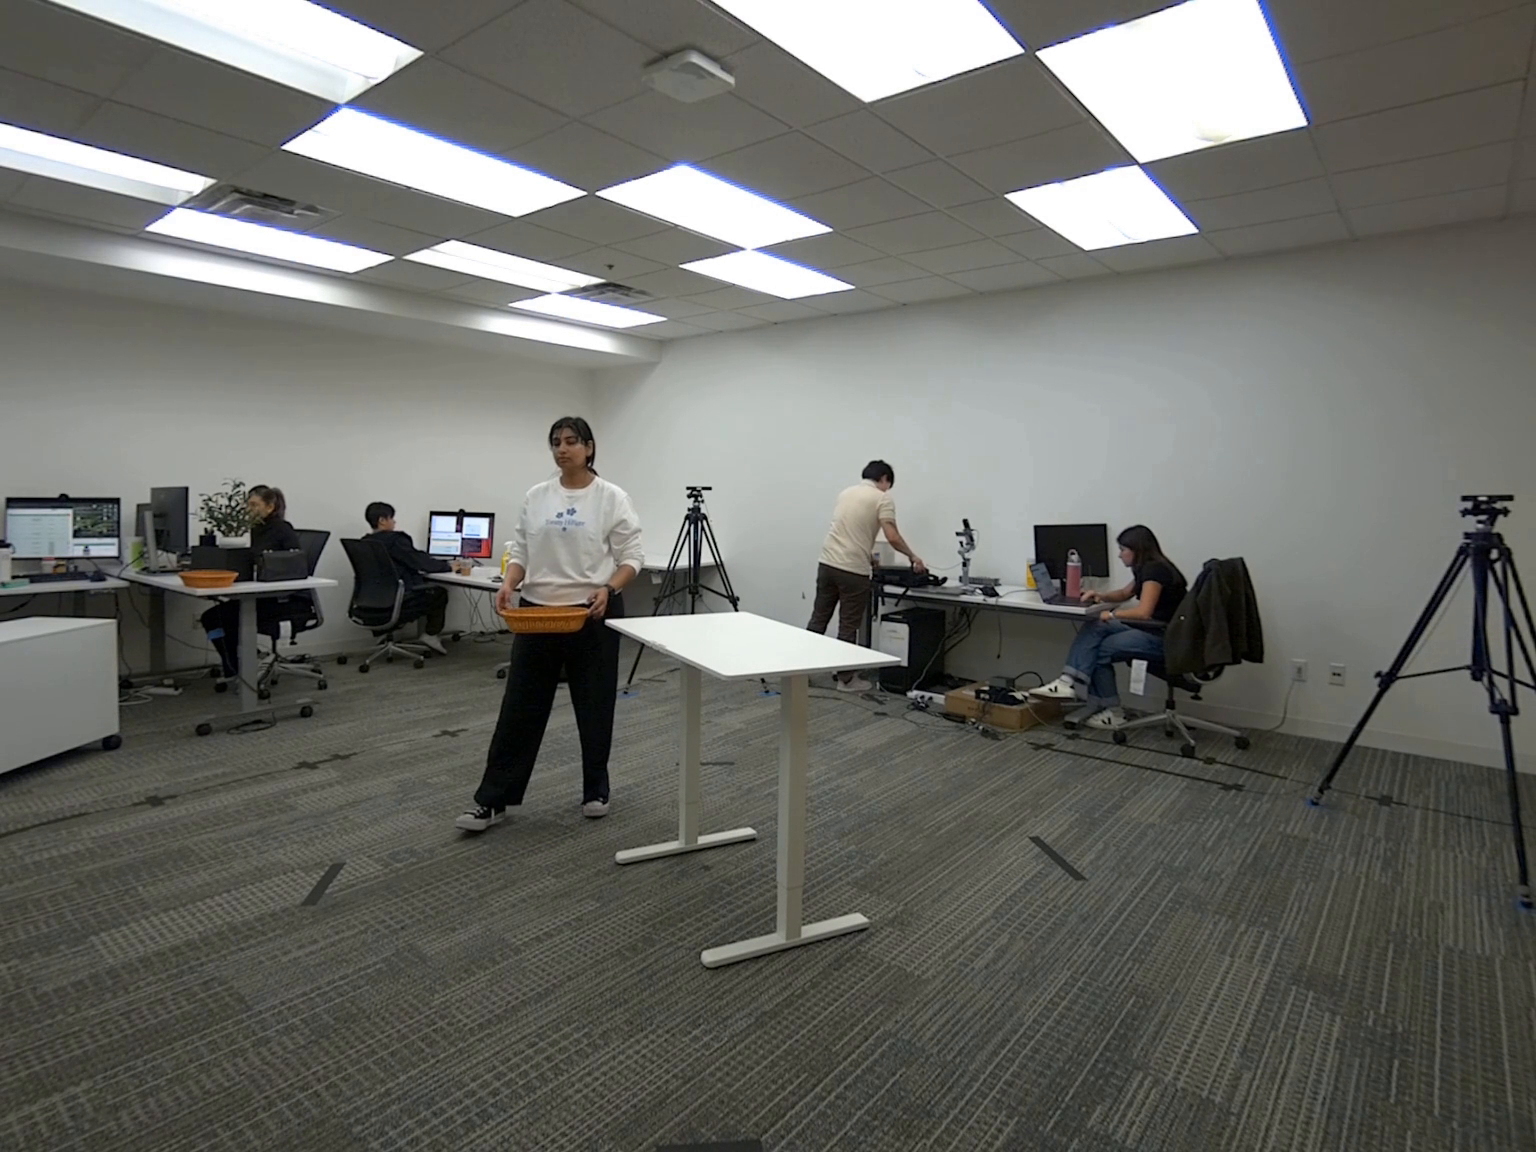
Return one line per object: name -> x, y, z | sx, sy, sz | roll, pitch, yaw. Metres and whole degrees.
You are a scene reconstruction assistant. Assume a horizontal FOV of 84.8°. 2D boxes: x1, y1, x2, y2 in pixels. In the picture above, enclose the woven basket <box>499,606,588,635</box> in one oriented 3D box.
woven basket -> -0.897, 0.164, 3.327 | 0.354, 0.073, 0.250 | 1, 5, 9
